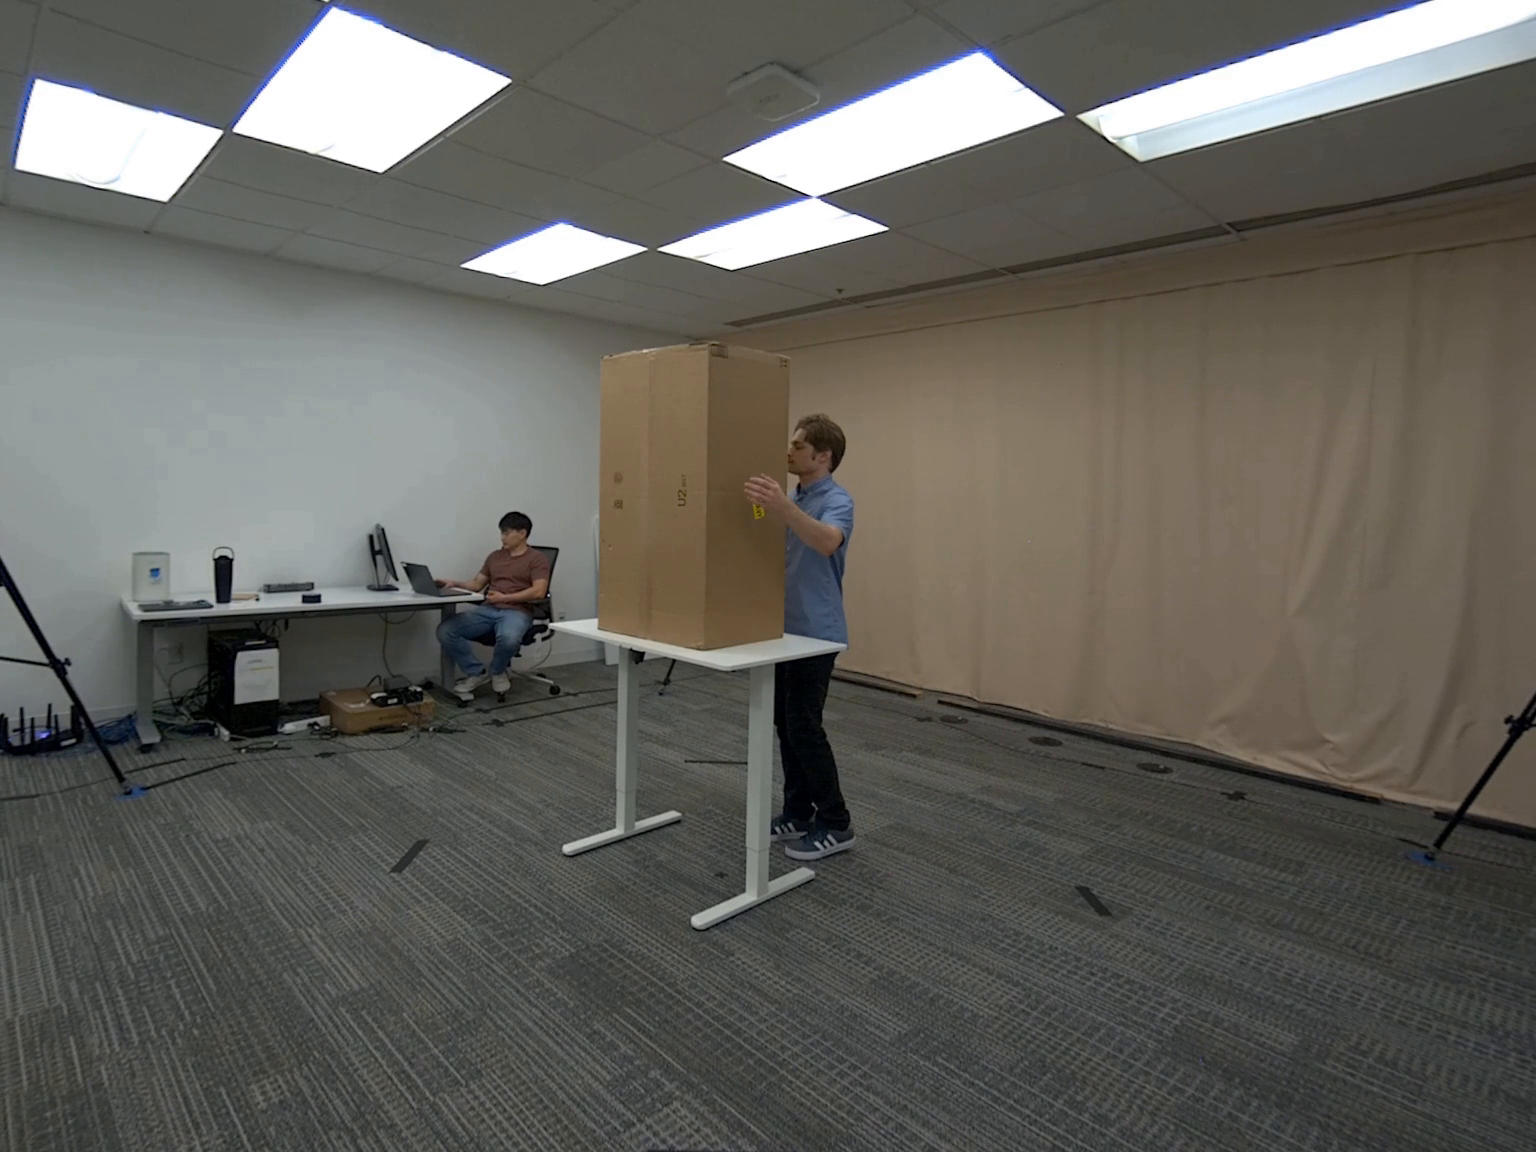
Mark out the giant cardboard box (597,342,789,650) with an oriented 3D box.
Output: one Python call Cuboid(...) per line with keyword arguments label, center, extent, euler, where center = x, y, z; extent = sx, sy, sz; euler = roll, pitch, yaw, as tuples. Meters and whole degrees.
Cuboid(label="giant cardboard box", center=(-0.287, -0.291, 3.108), extent=(0.592, 1.023, 0.416), euler=(5, 5, 42))
